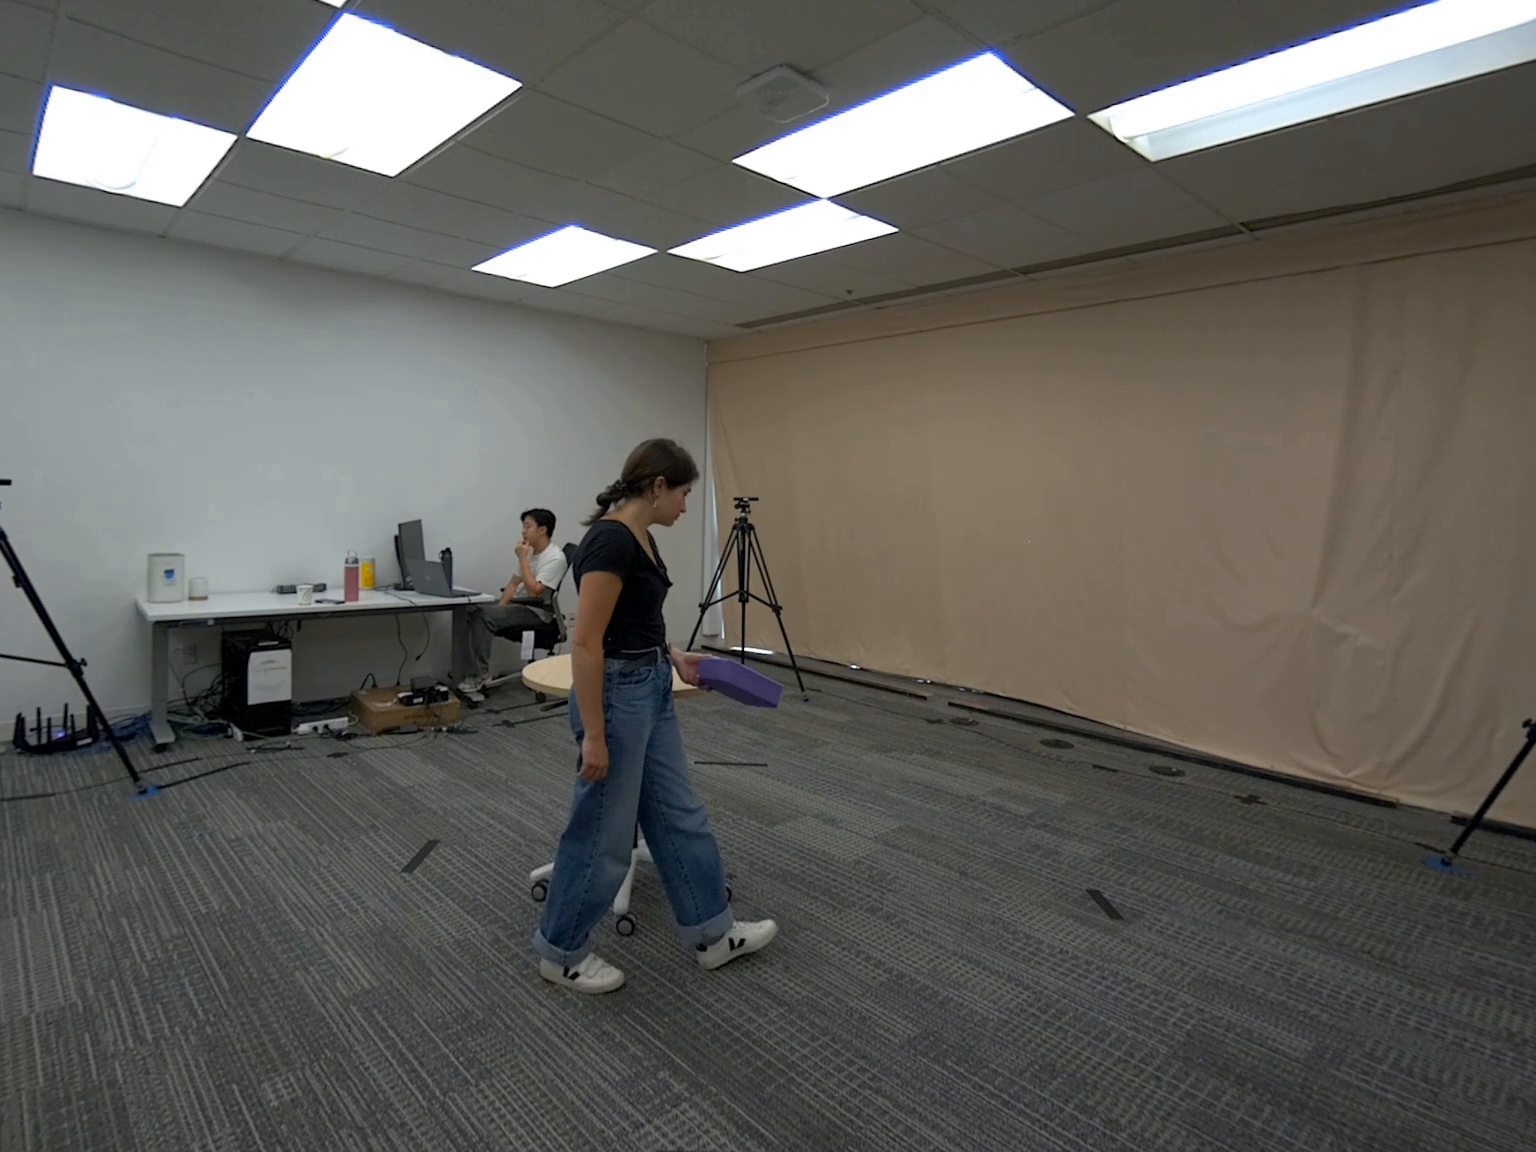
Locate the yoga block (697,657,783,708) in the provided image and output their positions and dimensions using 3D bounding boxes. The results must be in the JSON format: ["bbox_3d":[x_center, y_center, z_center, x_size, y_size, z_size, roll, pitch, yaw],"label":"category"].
[{"bbox_3d":[-0.084,0.321,2.510,0.222,0.077,0.152,32,-23,-37],"label":"yoga block"}]
